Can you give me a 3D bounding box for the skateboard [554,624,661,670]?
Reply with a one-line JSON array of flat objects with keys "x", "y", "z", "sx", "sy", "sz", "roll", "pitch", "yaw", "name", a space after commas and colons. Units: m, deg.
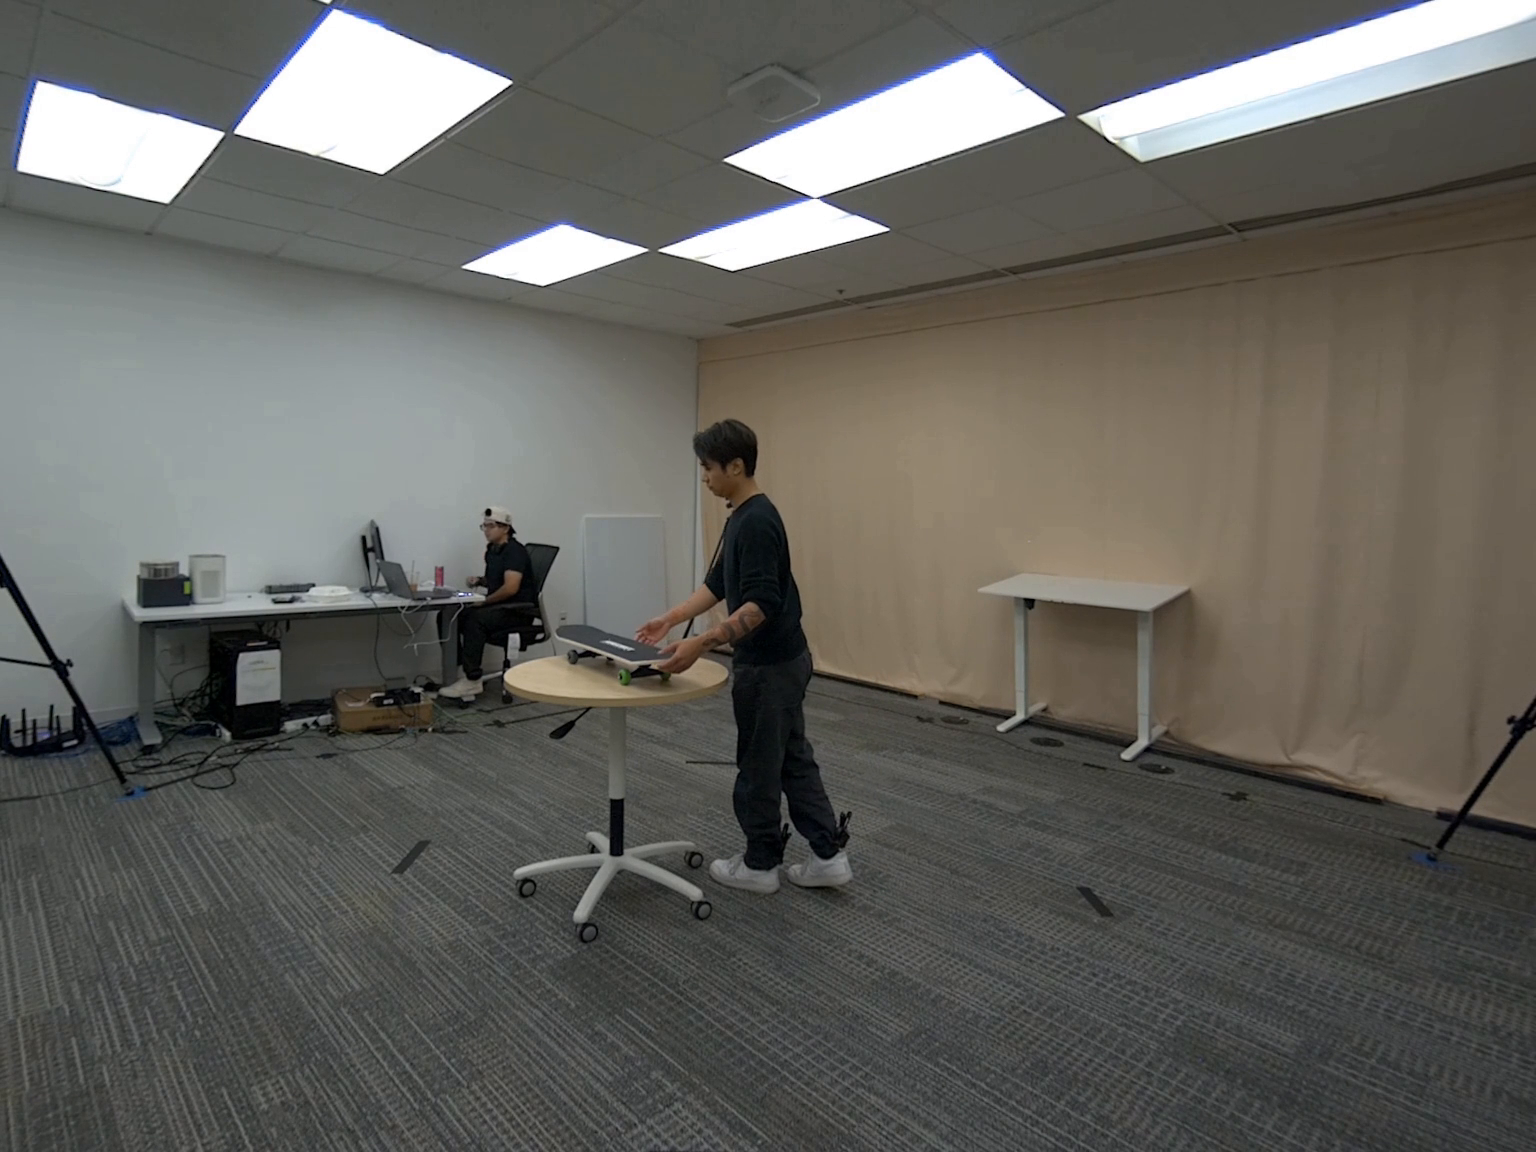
[{"x": -0.530, "y": 0.279, "z": 2.926, "sx": 0.189, "sy": 0.110, "sz": 0.805, "roll": -3, "pitch": 7, "yaw": -37, "name": "skateboard"}]
